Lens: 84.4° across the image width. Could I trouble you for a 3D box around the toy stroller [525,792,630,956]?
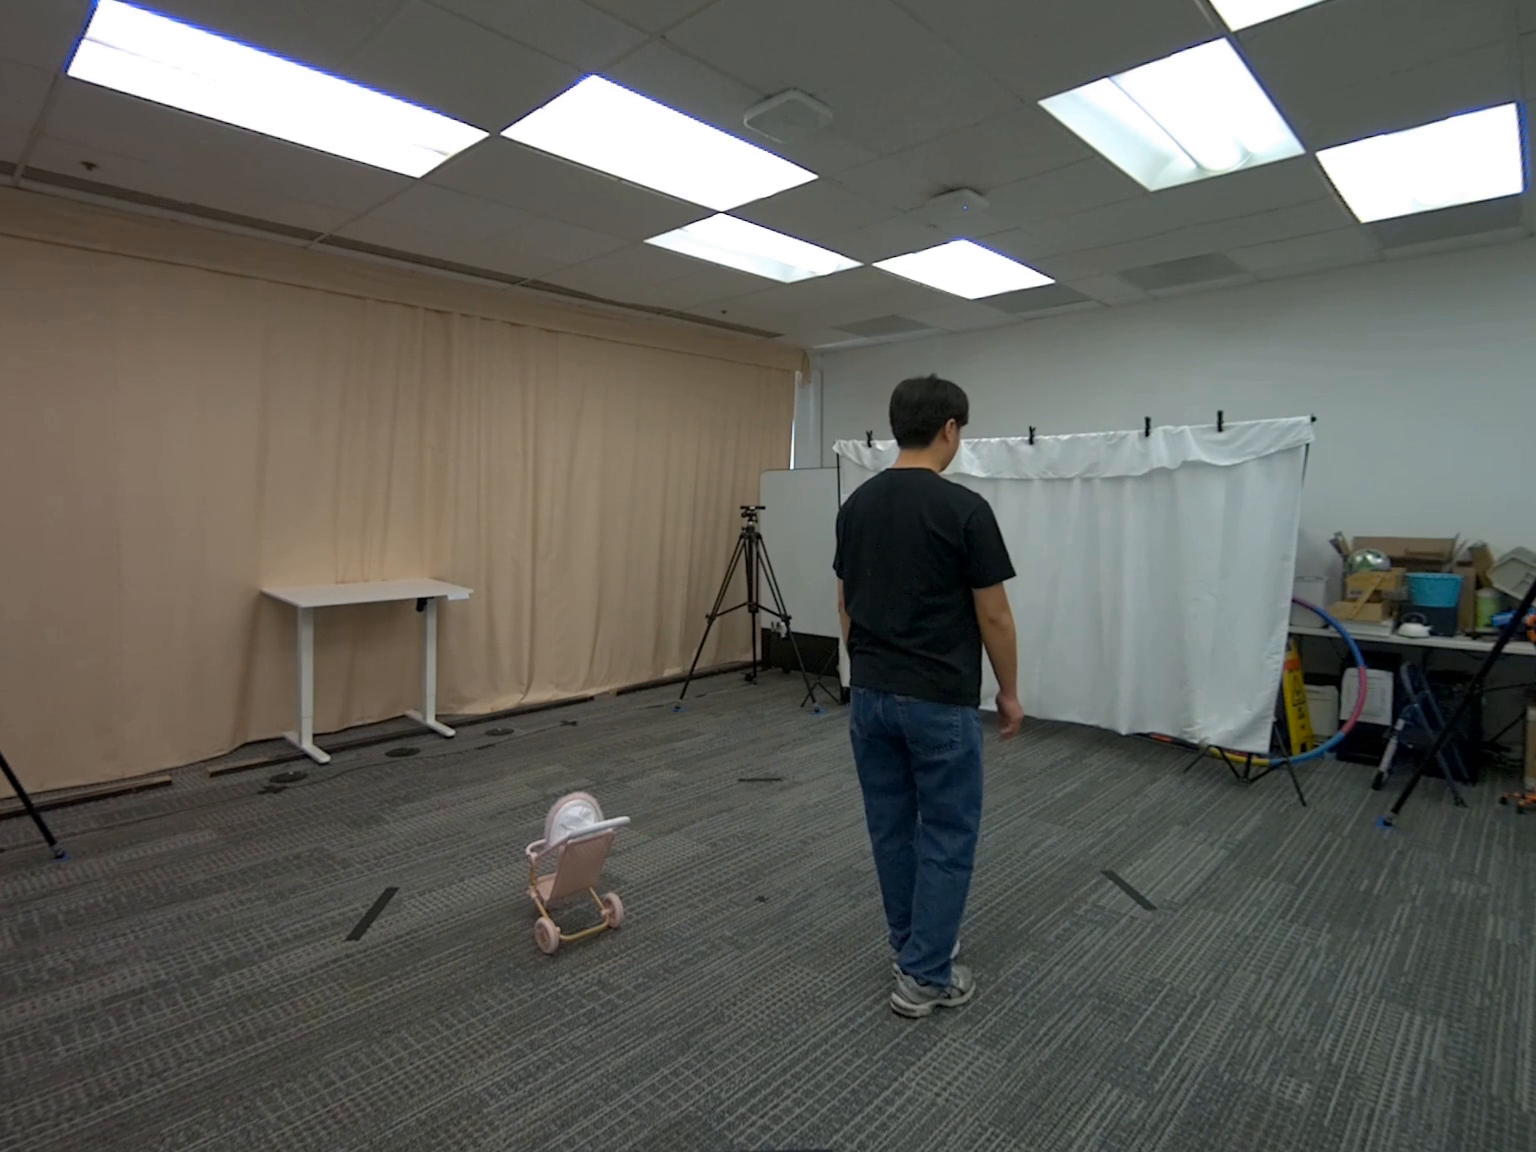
[{"bbox_3d":[-0.644,0.944,2.755,0.273,0.531,0.354,-1,19,-38],"label":"toy stroller"}]
